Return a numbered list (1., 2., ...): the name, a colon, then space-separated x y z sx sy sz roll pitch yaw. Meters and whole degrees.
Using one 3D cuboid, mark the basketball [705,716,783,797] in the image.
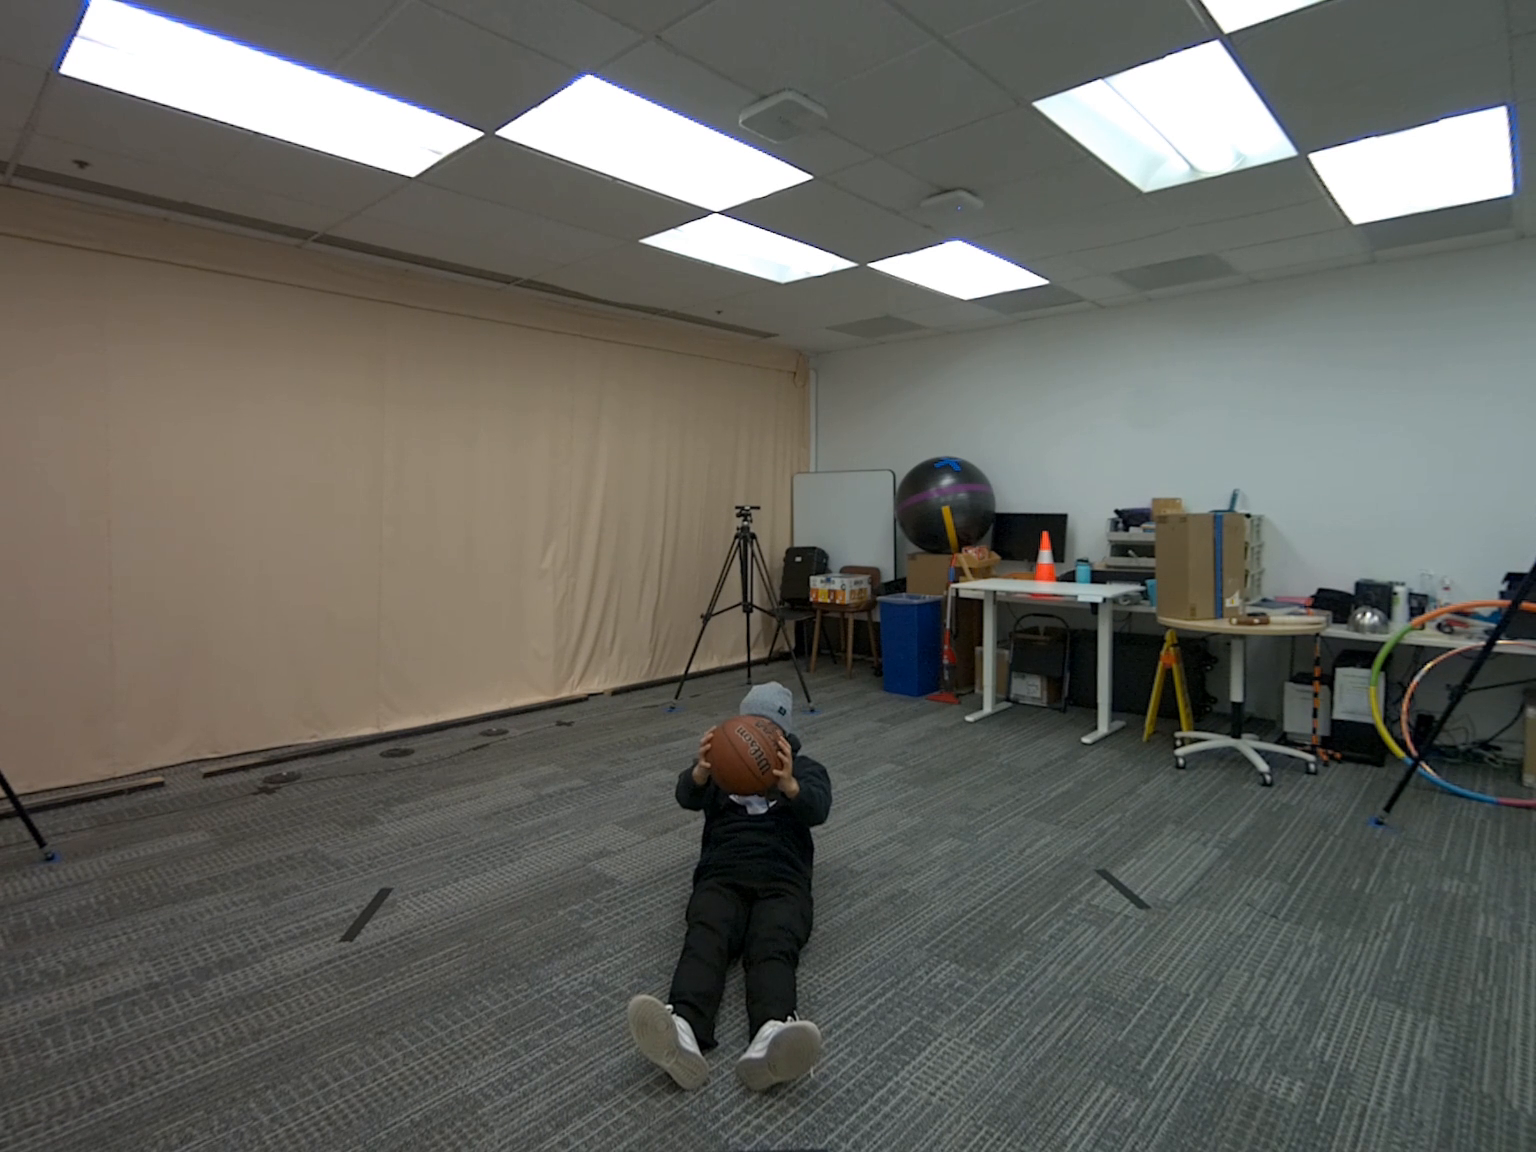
1. basketball: -0.071 0.546 2.563 0.236 0.235 0.237 0 4 -2
